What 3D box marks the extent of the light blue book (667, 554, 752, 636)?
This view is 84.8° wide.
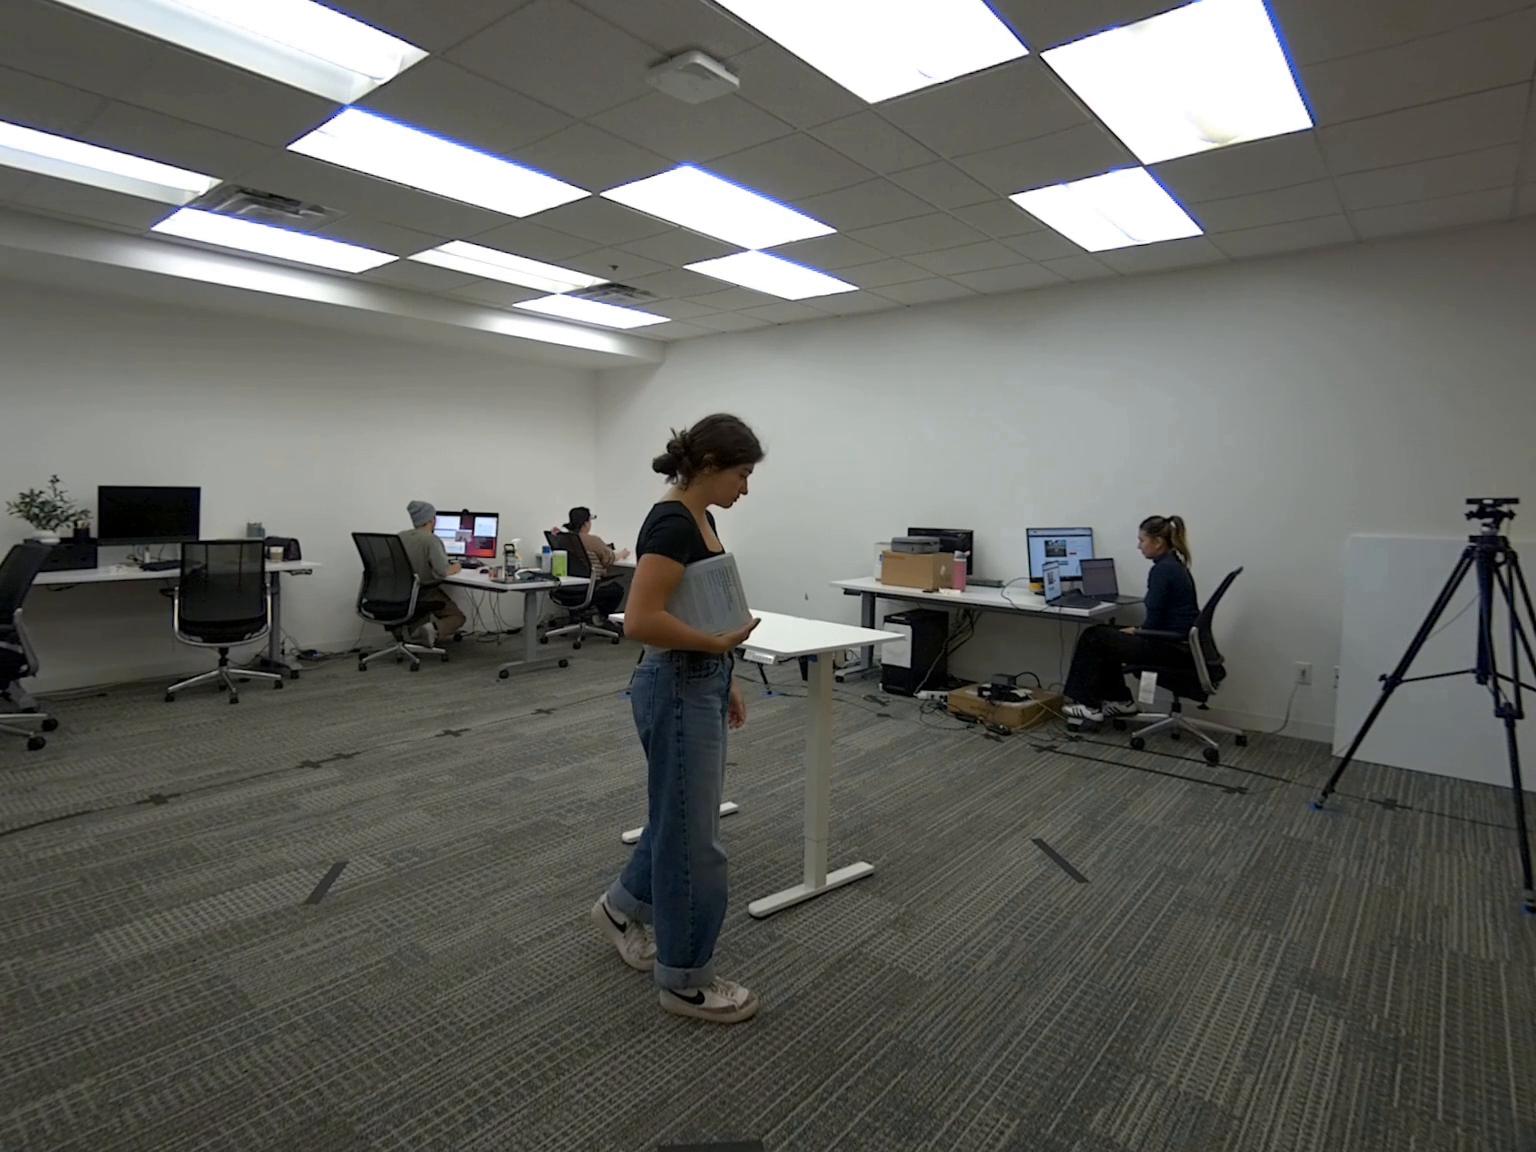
[{"bbox_3d":[-0.199,0.067,2.113,0.260,0.190,0.059,-14,4,-5],"label":"light blue book"}]
